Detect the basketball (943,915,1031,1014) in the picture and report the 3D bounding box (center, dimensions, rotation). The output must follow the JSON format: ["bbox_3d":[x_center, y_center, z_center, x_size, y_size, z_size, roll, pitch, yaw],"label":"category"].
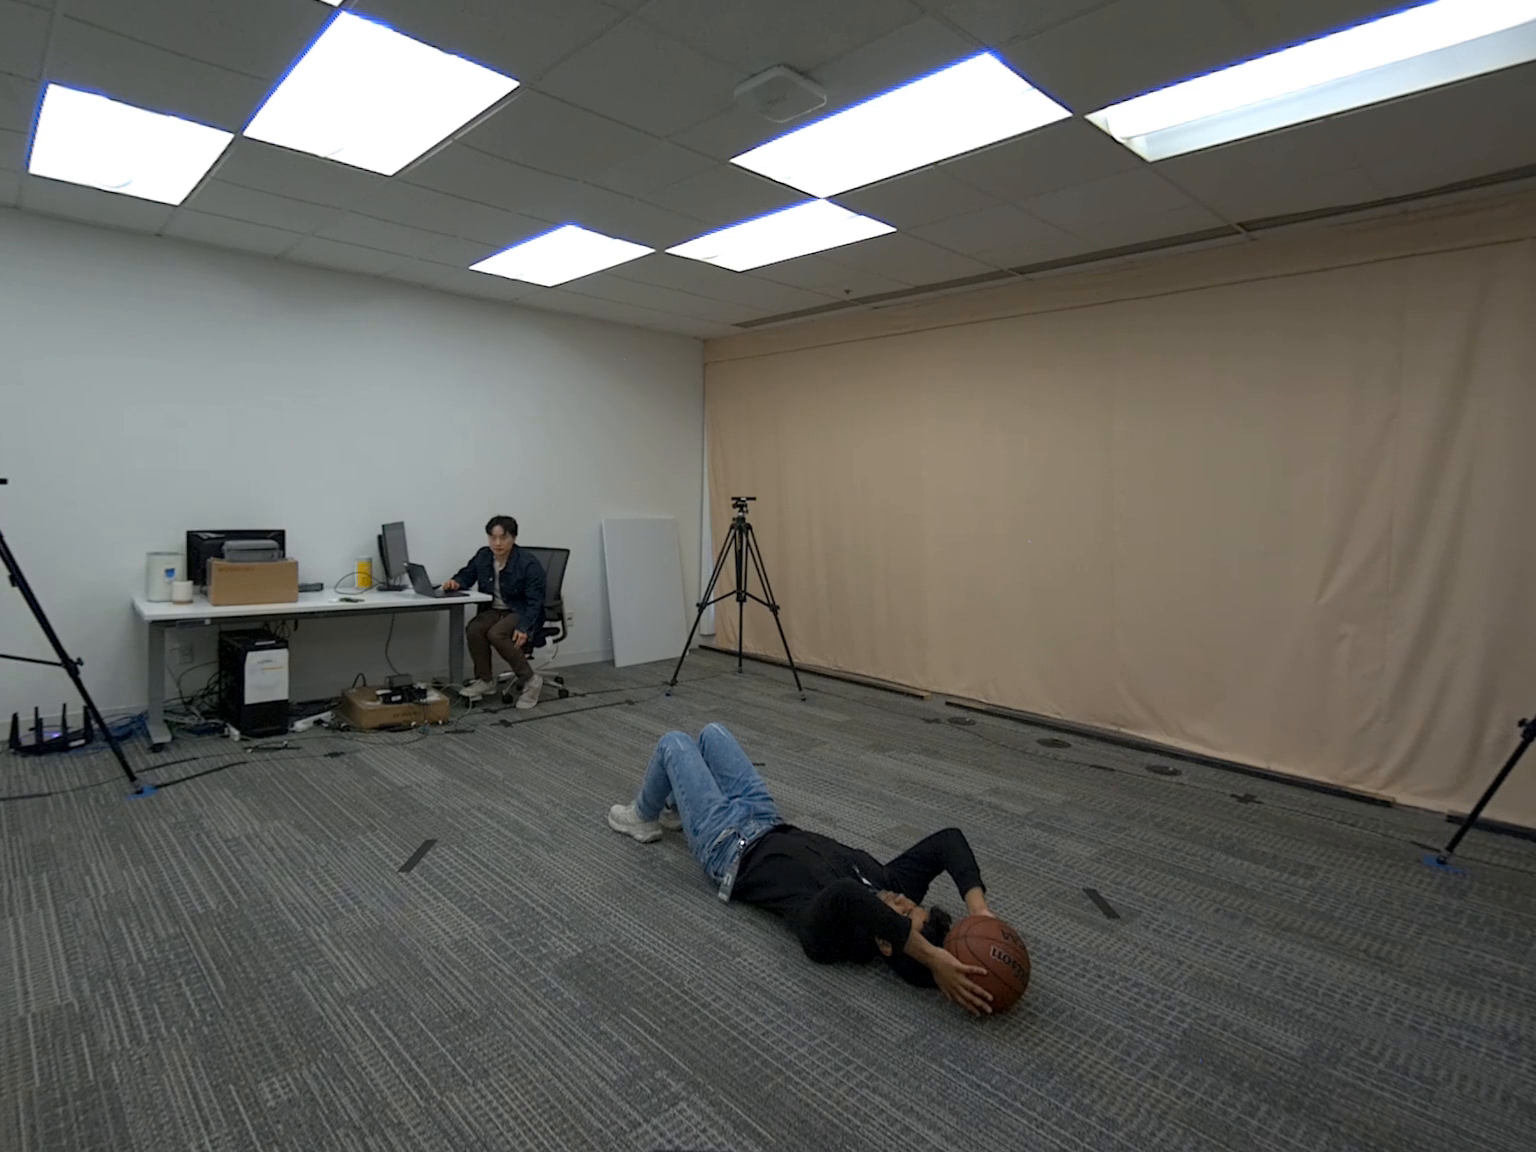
[{"bbox_3d":[0.597,1.072,2.349,0.236,0.235,0.237,1,4,-1],"label":"basketball"}]
